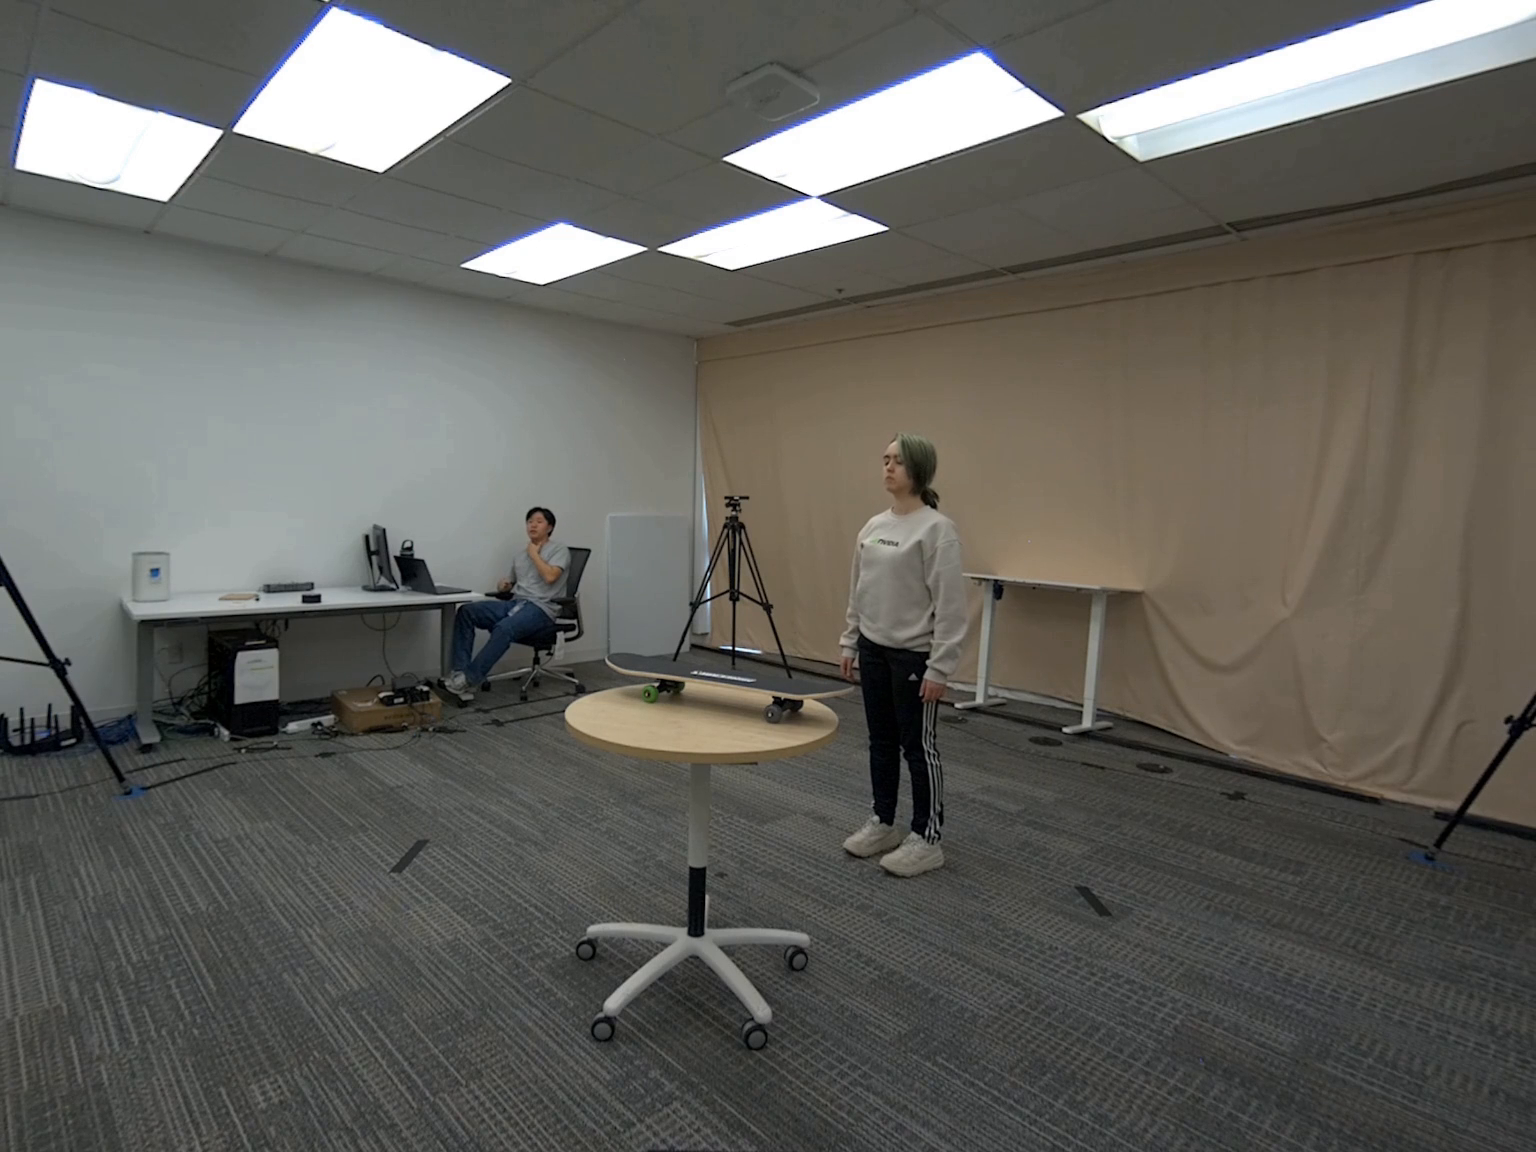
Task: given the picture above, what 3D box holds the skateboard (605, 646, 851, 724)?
[{"bbox_3d":[-0.141,0.337,2.434,0.802,0.110,0.190,5,7,27],"label":"skateboard"}]
